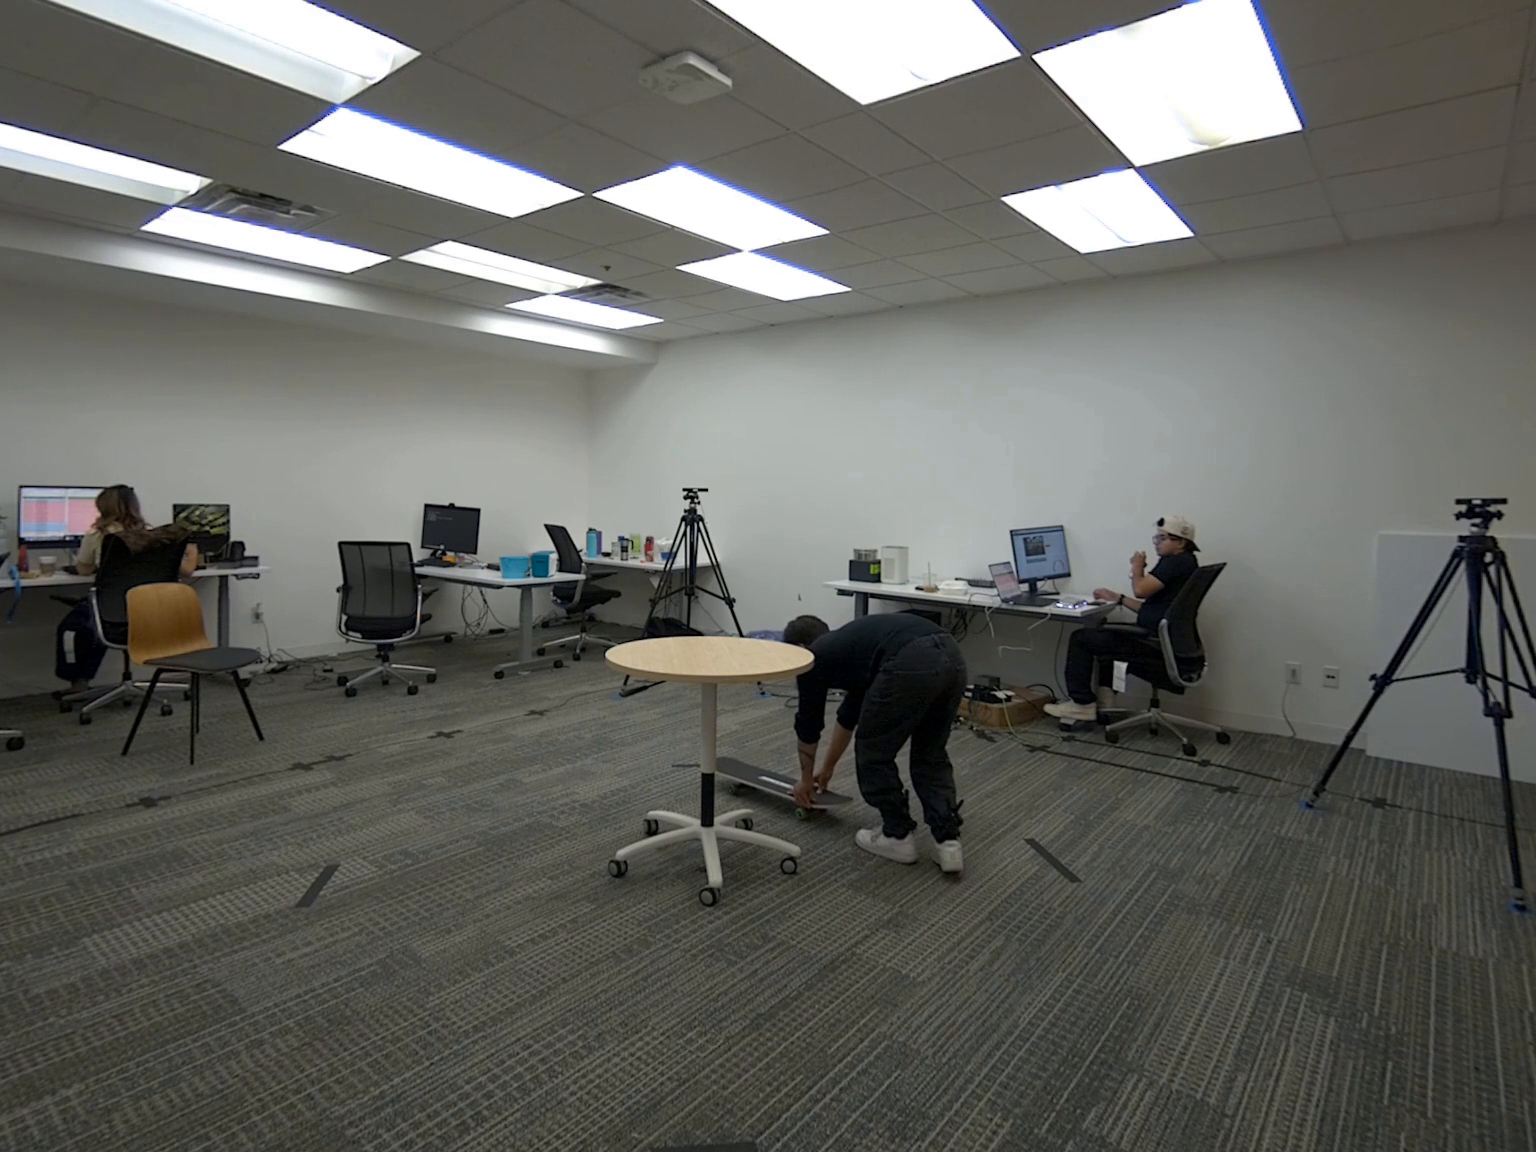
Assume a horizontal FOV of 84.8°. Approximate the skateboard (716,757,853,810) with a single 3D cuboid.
[{"bbox_3d":[0.035,0.953,3.801,0.813,0.110,0.188,7,8,43],"label":"skateboard"}]
